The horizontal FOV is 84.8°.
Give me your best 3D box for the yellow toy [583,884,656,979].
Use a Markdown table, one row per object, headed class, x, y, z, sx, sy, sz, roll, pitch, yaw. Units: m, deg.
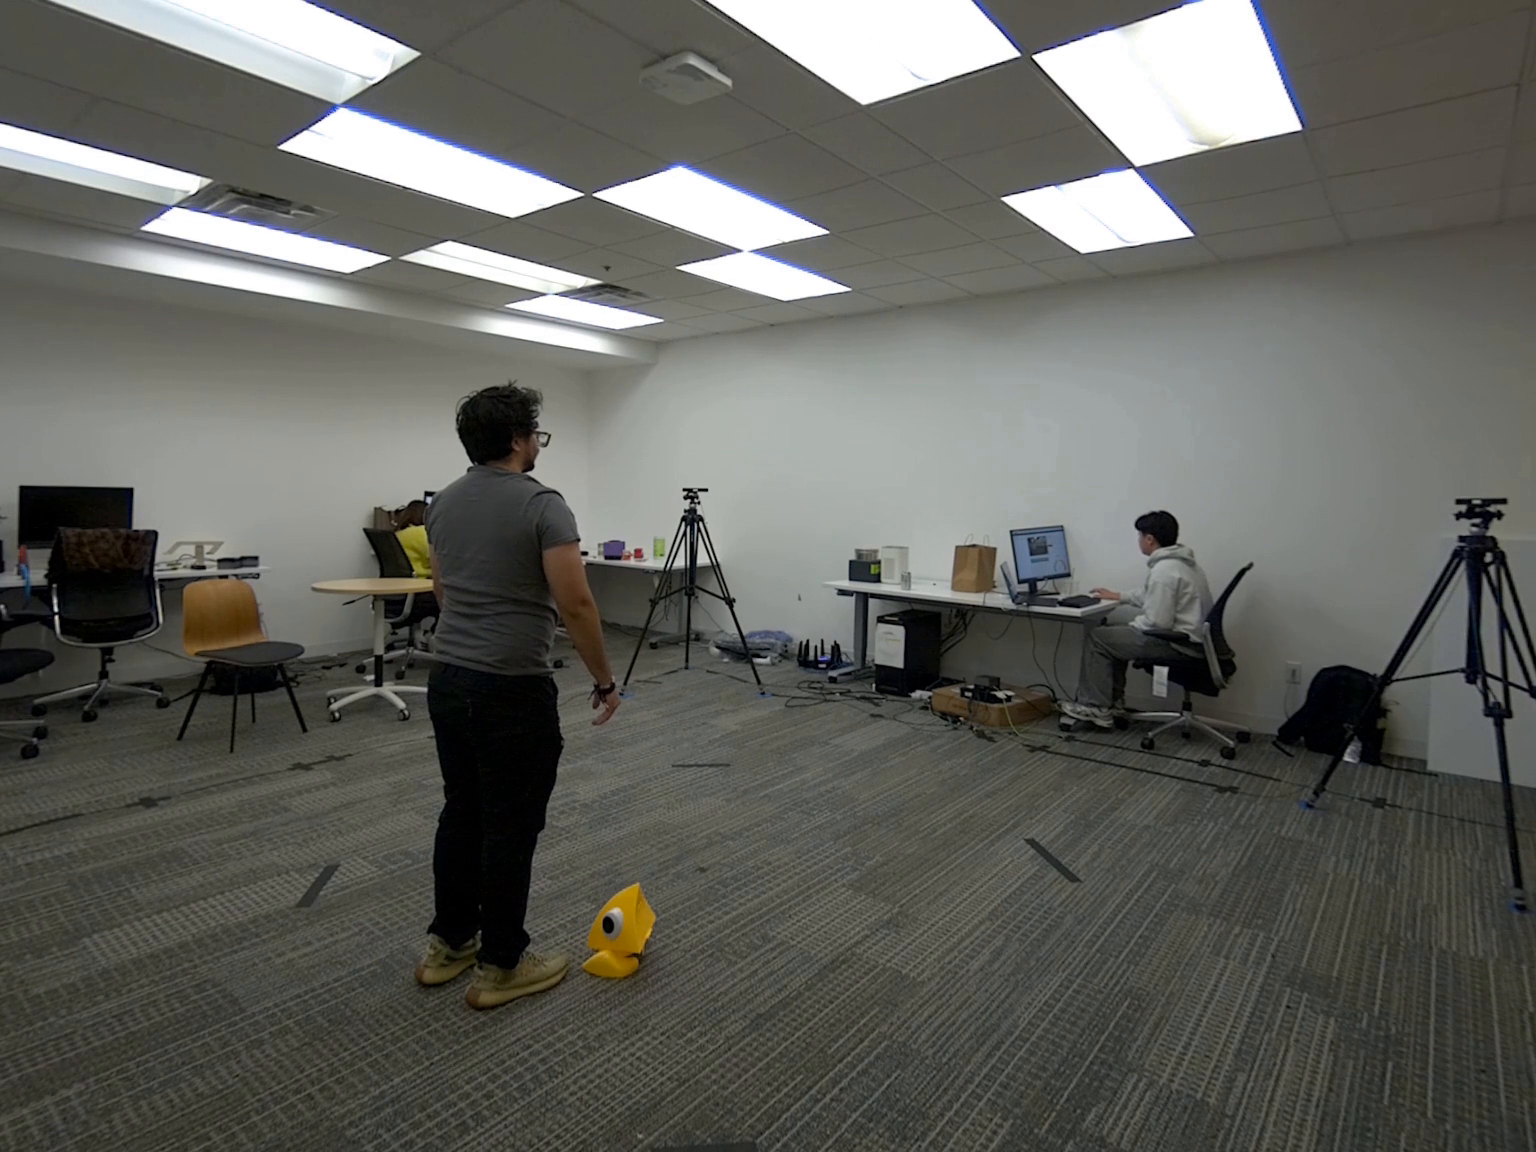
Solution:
| class | x | y | z | sx | sy | sz | roll | pitch | yaw |
| --- | --- | --- | --- | --- | --- | --- | --- | --- | --- |
| yellow toy | -0.452 | 1.012 | 2.502 | 0.194 | 0.230 | 0.204 | 1 | 5 | 6 |
